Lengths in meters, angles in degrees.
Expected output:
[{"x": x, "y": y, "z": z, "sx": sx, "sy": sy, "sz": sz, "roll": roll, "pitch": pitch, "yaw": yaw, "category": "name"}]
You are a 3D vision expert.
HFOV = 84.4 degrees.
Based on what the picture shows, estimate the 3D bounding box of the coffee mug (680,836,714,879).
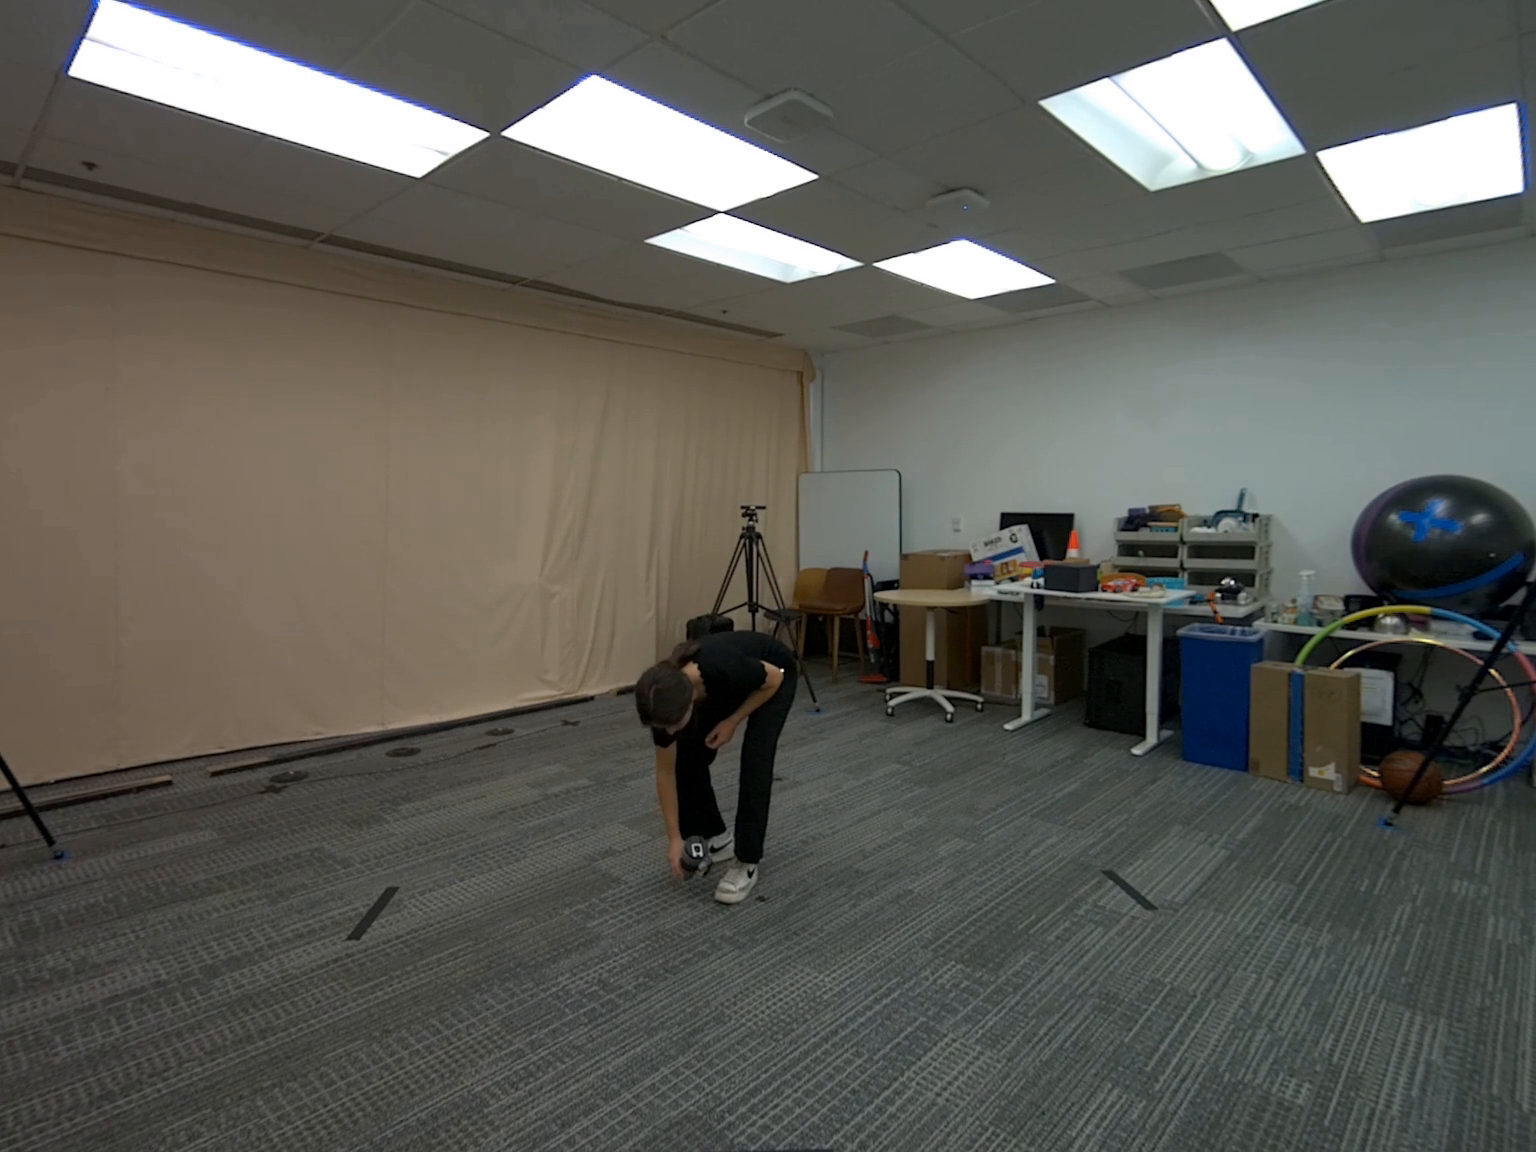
[{"x": -0.265, "y": 0.999, "z": 2.959, "sx": 0.086, "sy": 0.201, "sz": 0.125, "roll": 5, "pitch": 39, "yaw": -19, "category": "coffee mug"}]
